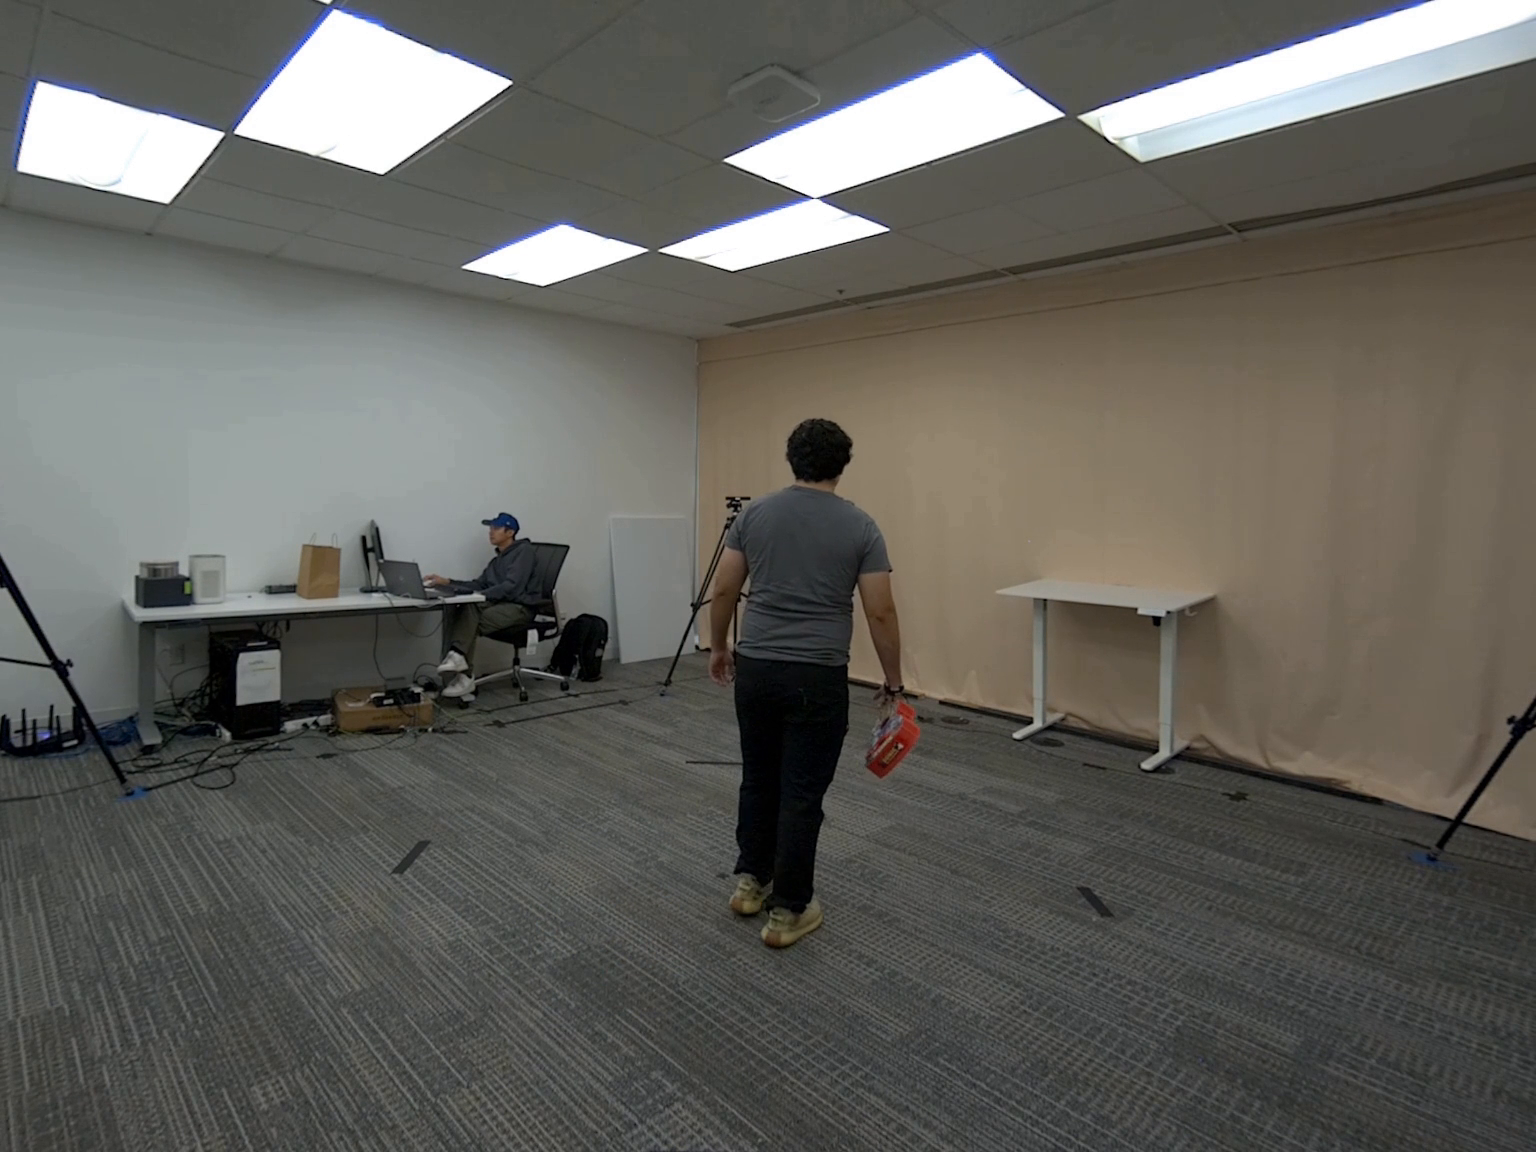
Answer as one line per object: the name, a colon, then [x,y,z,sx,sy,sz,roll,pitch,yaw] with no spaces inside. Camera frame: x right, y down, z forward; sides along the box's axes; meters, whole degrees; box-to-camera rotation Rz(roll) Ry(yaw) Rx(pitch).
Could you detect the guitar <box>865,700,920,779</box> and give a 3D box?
guitar: [0.398,0.419,2.639,0.071,0.192,0.500,33,30,-2]
